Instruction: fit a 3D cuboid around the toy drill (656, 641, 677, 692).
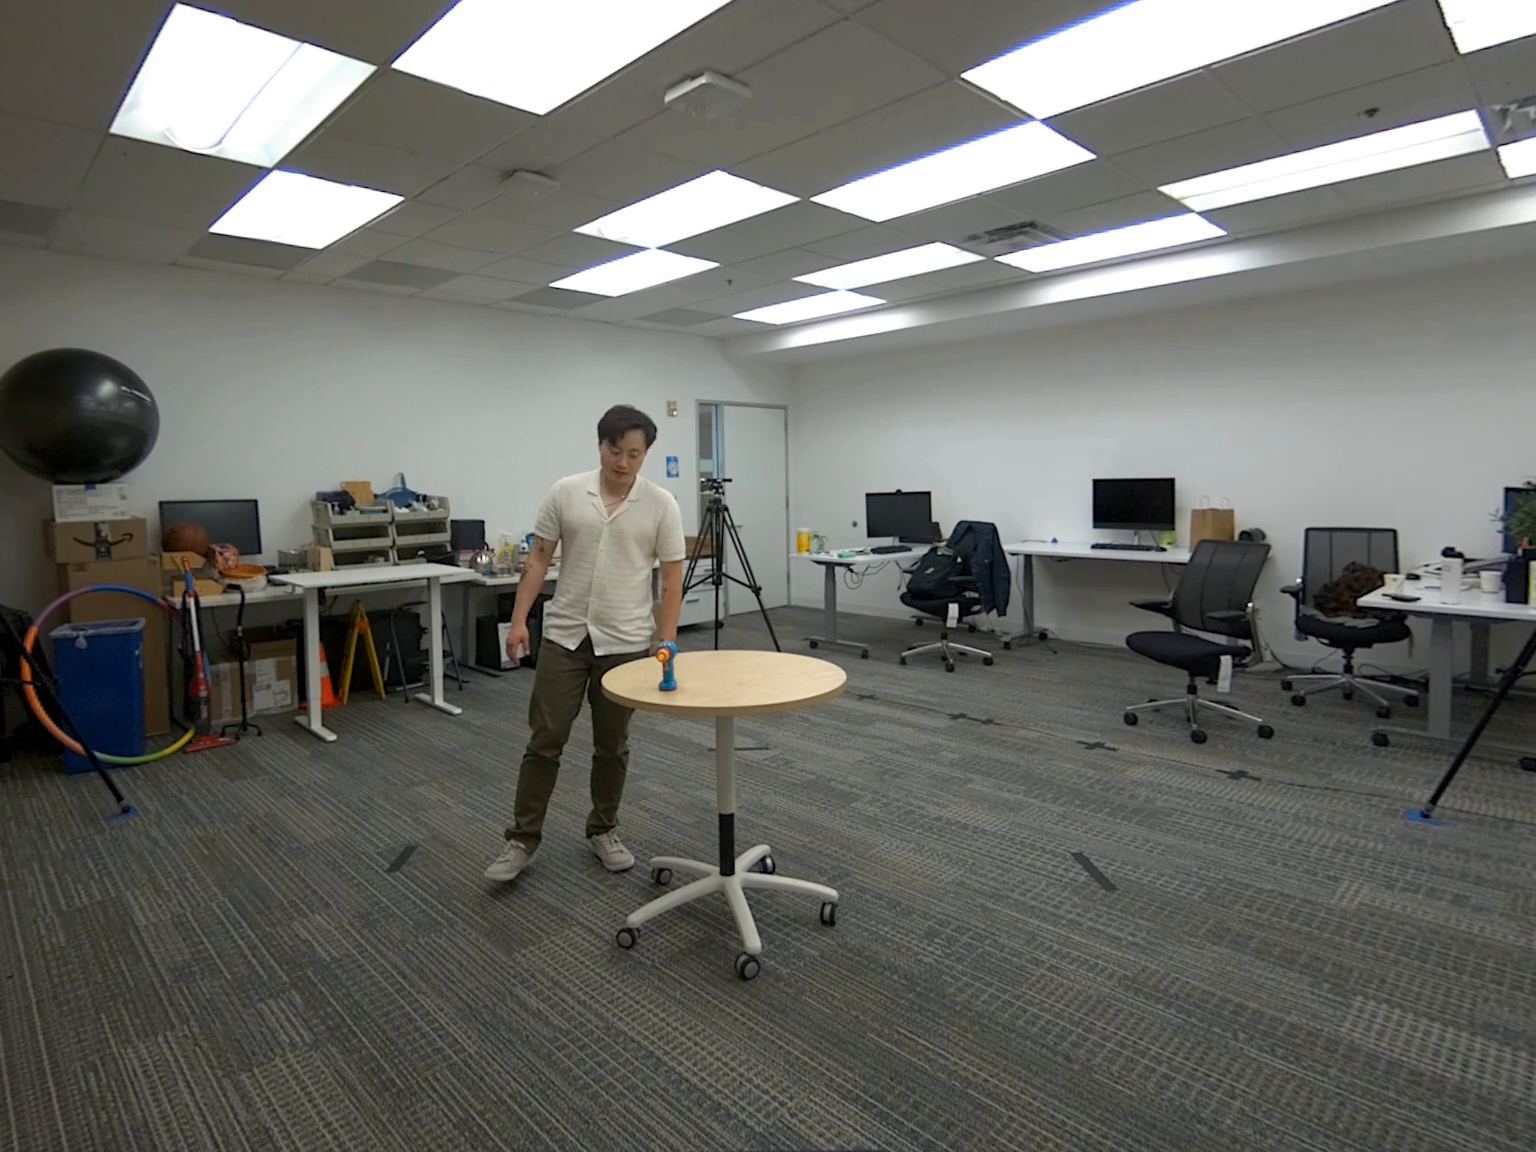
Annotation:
[{"bbox_3d":[-0.288,0.263,2.483,0.061,0.145,0.170,0,6,0],"label":"toy drill"}]
